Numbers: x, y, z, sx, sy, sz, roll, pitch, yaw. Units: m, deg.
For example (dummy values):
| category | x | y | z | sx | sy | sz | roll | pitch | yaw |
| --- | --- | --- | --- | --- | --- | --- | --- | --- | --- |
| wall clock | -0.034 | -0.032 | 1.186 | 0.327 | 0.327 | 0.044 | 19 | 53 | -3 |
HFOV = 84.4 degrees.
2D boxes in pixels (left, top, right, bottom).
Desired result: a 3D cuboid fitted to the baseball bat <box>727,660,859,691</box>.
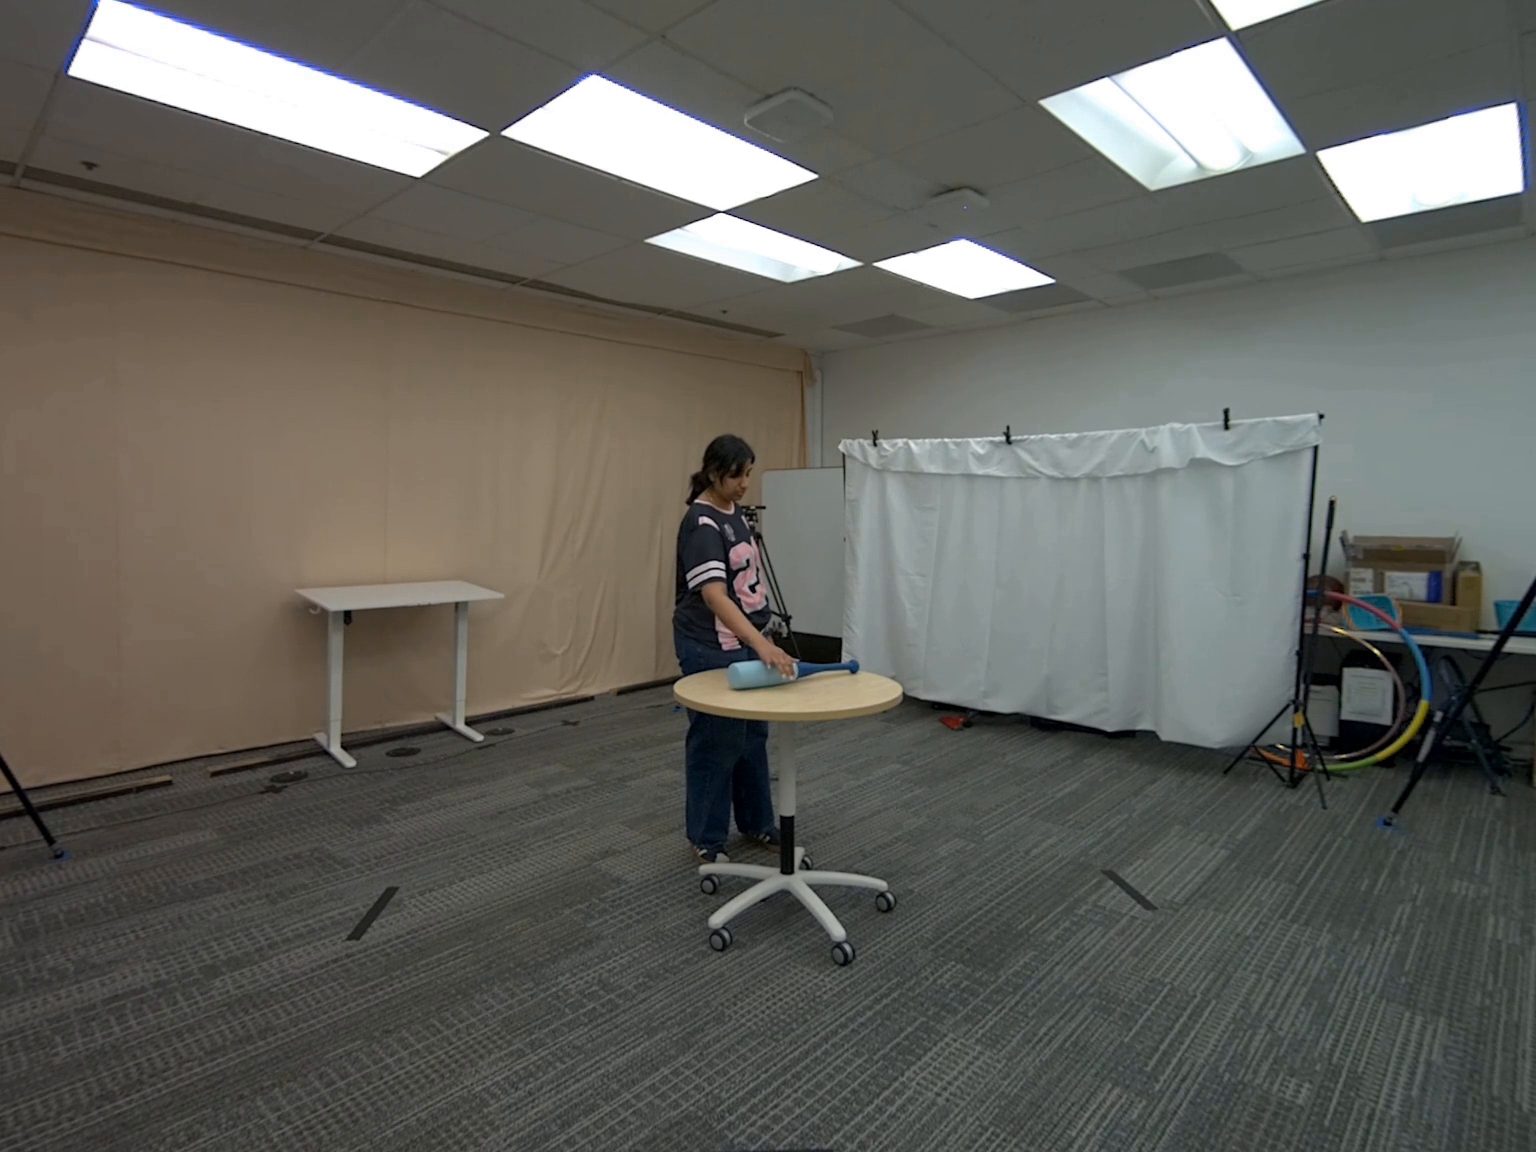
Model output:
| category | x | y | z | sx | sy | sz | roll | pitch | yaw |
| --- | --- | --- | --- | --- | --- | --- | --- | --- | --- |
| baseball bat | 0.108 | 0.332 | 2.909 | 0.527 | 0.089 | 0.092 | 0 | 3 | -32 |
